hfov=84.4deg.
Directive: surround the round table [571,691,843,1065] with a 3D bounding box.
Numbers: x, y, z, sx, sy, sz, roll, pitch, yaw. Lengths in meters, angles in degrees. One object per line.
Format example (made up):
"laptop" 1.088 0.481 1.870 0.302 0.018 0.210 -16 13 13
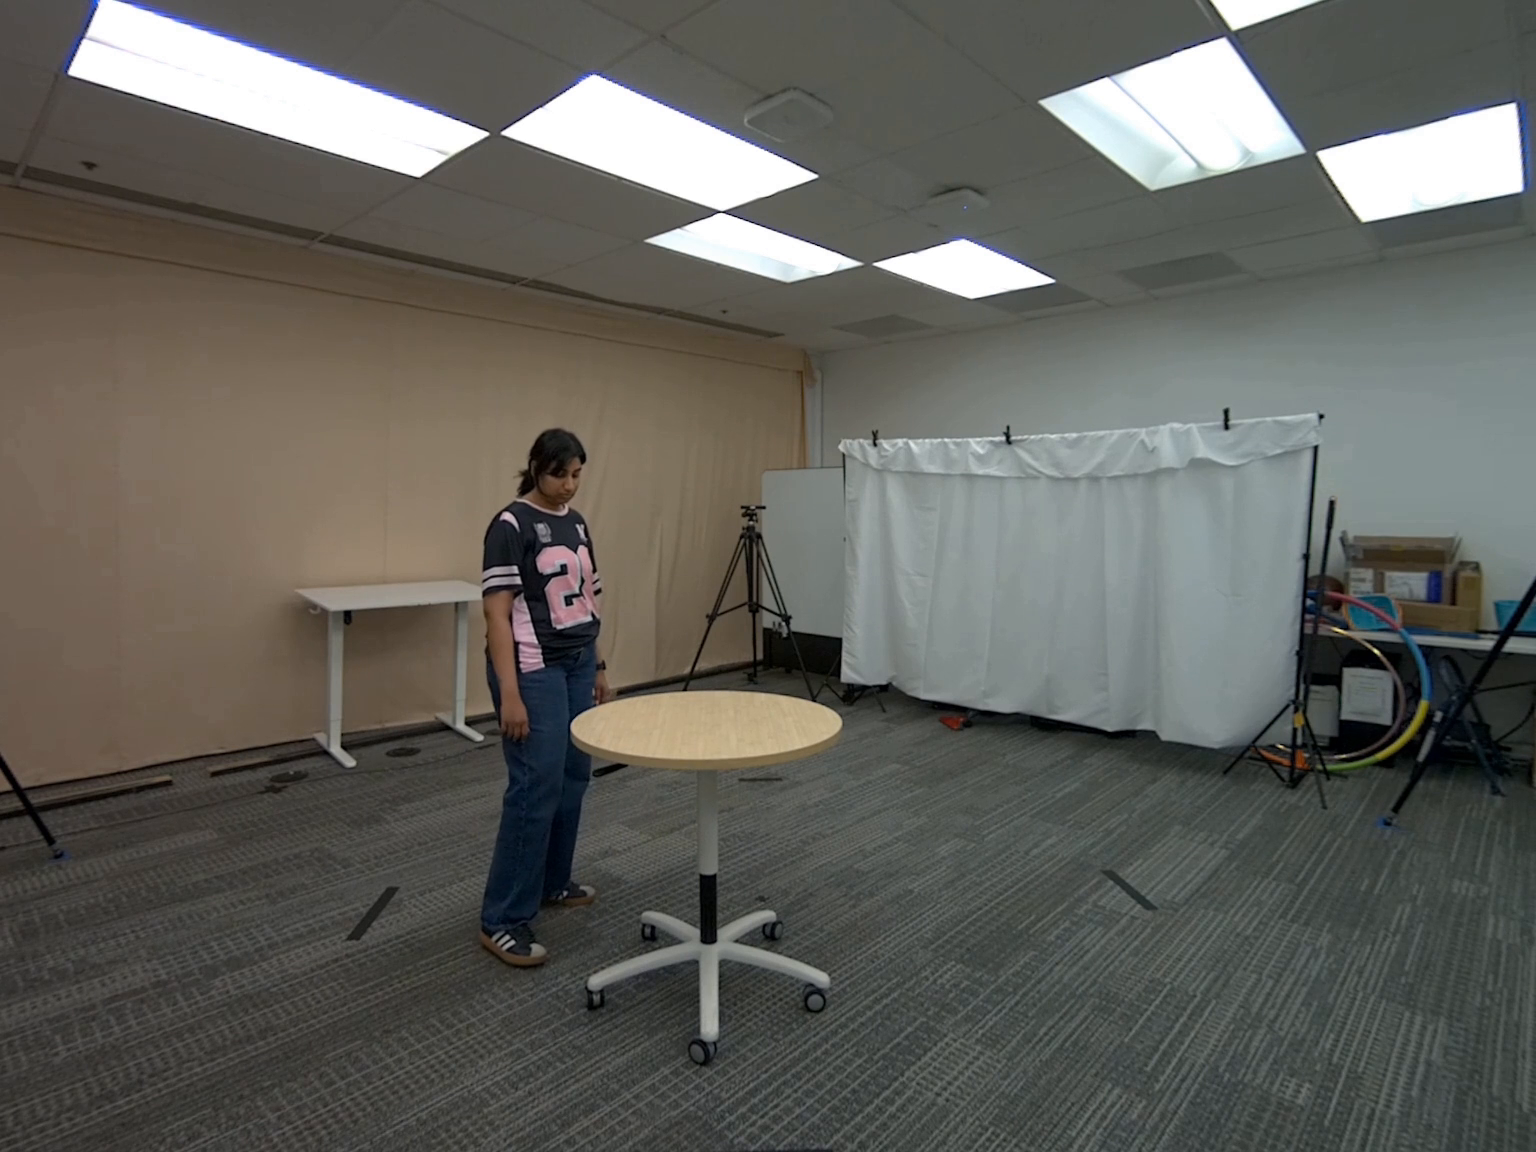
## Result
"round table" -0.169 0.805 2.411 0.763 0.792 0.766 -1 4 -2
